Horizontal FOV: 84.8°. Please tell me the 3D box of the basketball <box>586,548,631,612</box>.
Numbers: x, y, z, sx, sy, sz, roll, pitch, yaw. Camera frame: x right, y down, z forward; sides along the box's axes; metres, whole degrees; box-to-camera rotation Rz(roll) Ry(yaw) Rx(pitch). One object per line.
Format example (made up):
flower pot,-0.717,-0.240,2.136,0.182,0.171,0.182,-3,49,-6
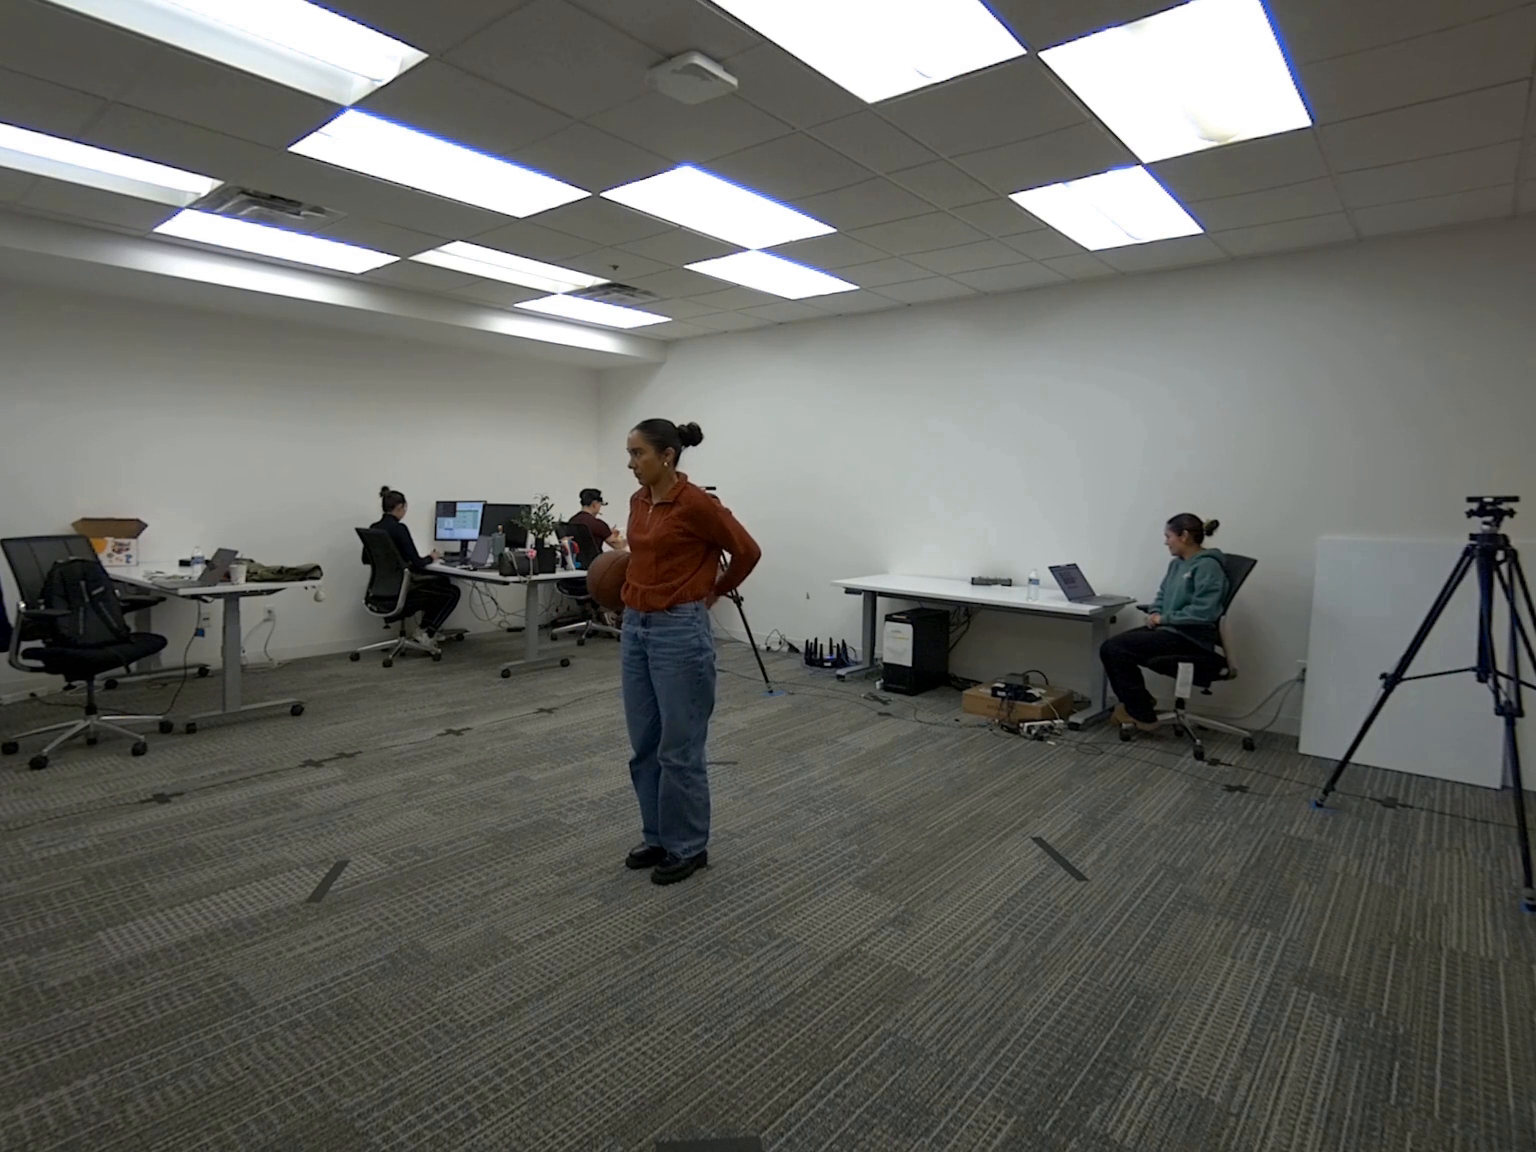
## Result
basketball,-0.594,0.016,3.314,0.235,0.235,0.237,1,4,-2
